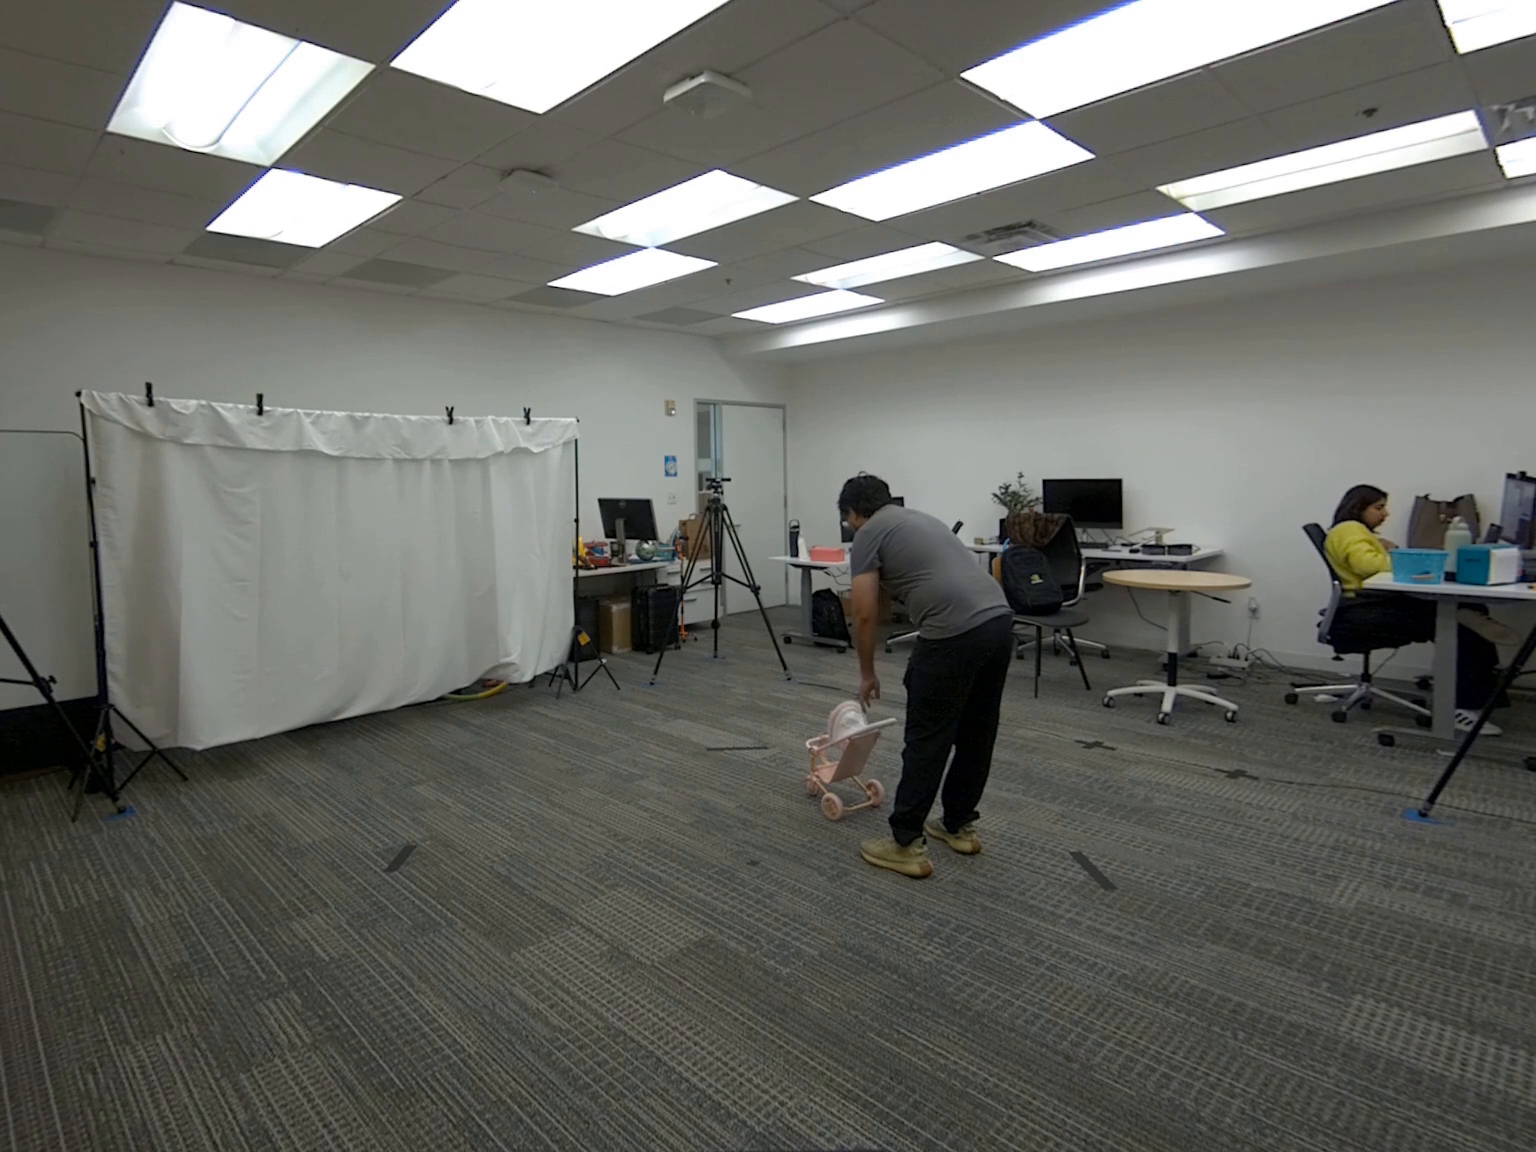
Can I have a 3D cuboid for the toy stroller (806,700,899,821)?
[{"bbox_3d":[0.322,0.758,3.593,0.274,0.528,0.354,-4,23,-34],"label":"toy stroller"}]
